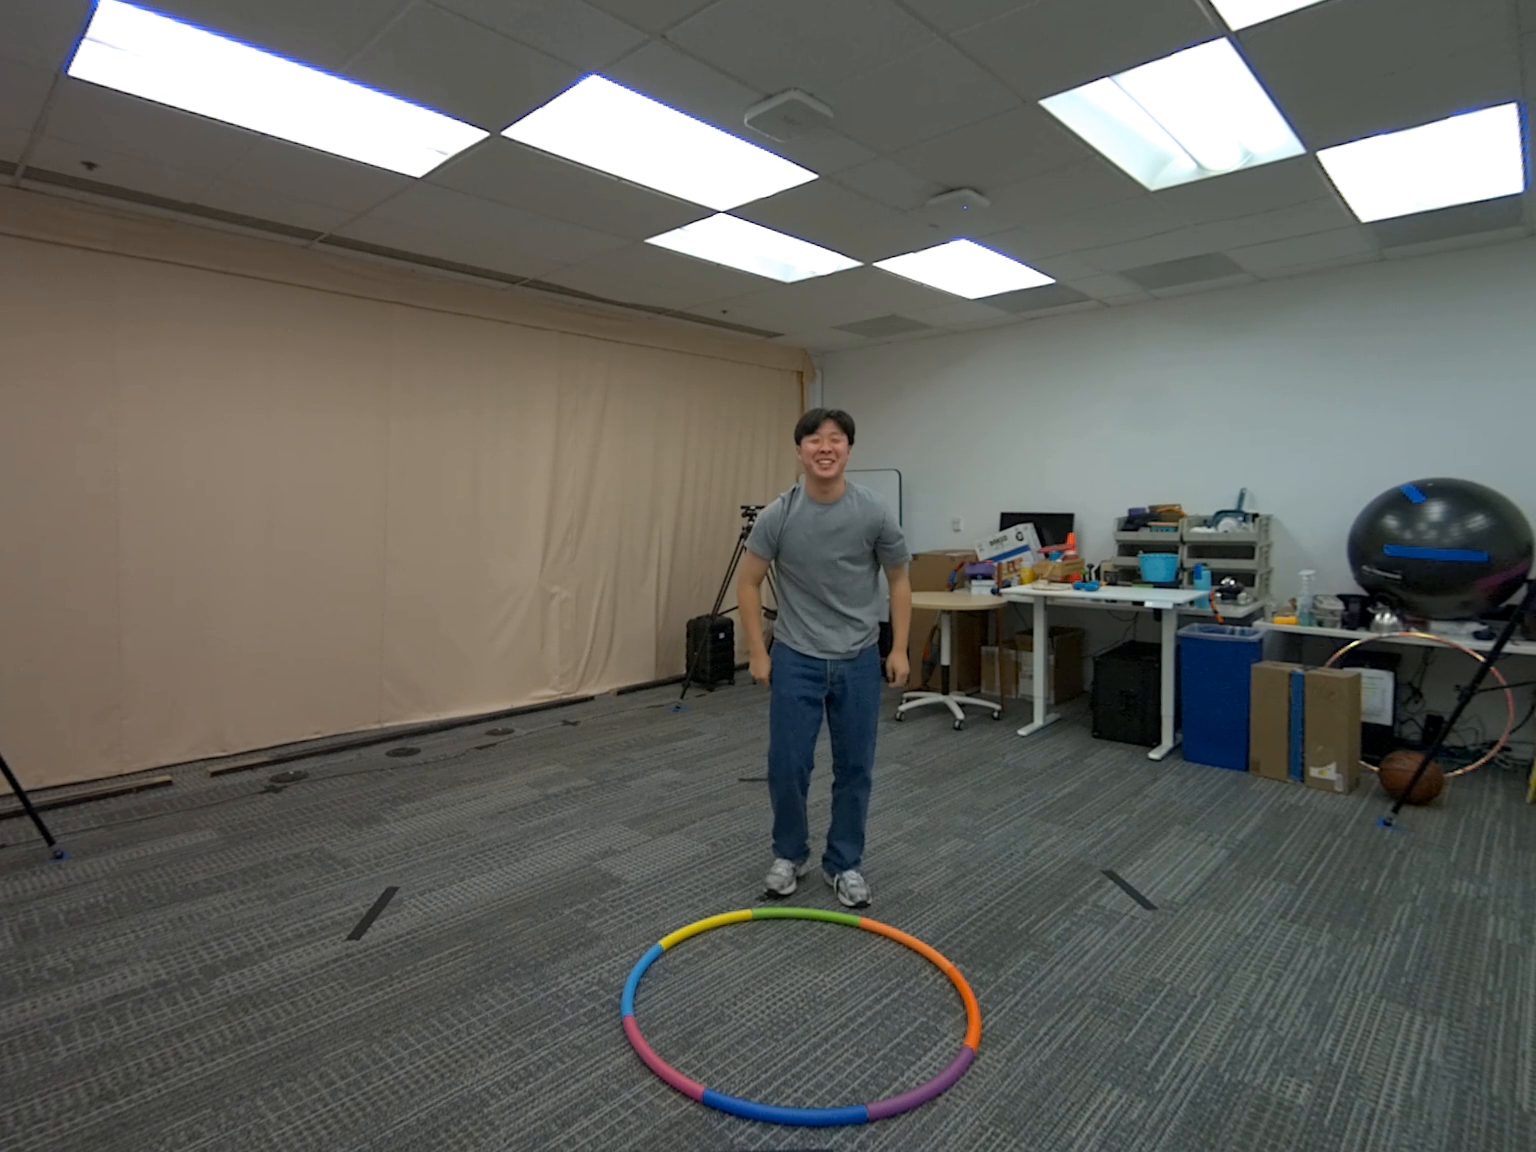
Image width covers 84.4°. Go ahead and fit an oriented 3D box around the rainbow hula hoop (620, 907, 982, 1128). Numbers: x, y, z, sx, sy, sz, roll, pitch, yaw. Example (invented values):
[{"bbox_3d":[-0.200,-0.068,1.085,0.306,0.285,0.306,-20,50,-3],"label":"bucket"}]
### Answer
[{"bbox_3d":[0.086,1.165,2.377,0.978,0.035,0.982,0,5,-2],"label":"rainbow hula hoop"}]
